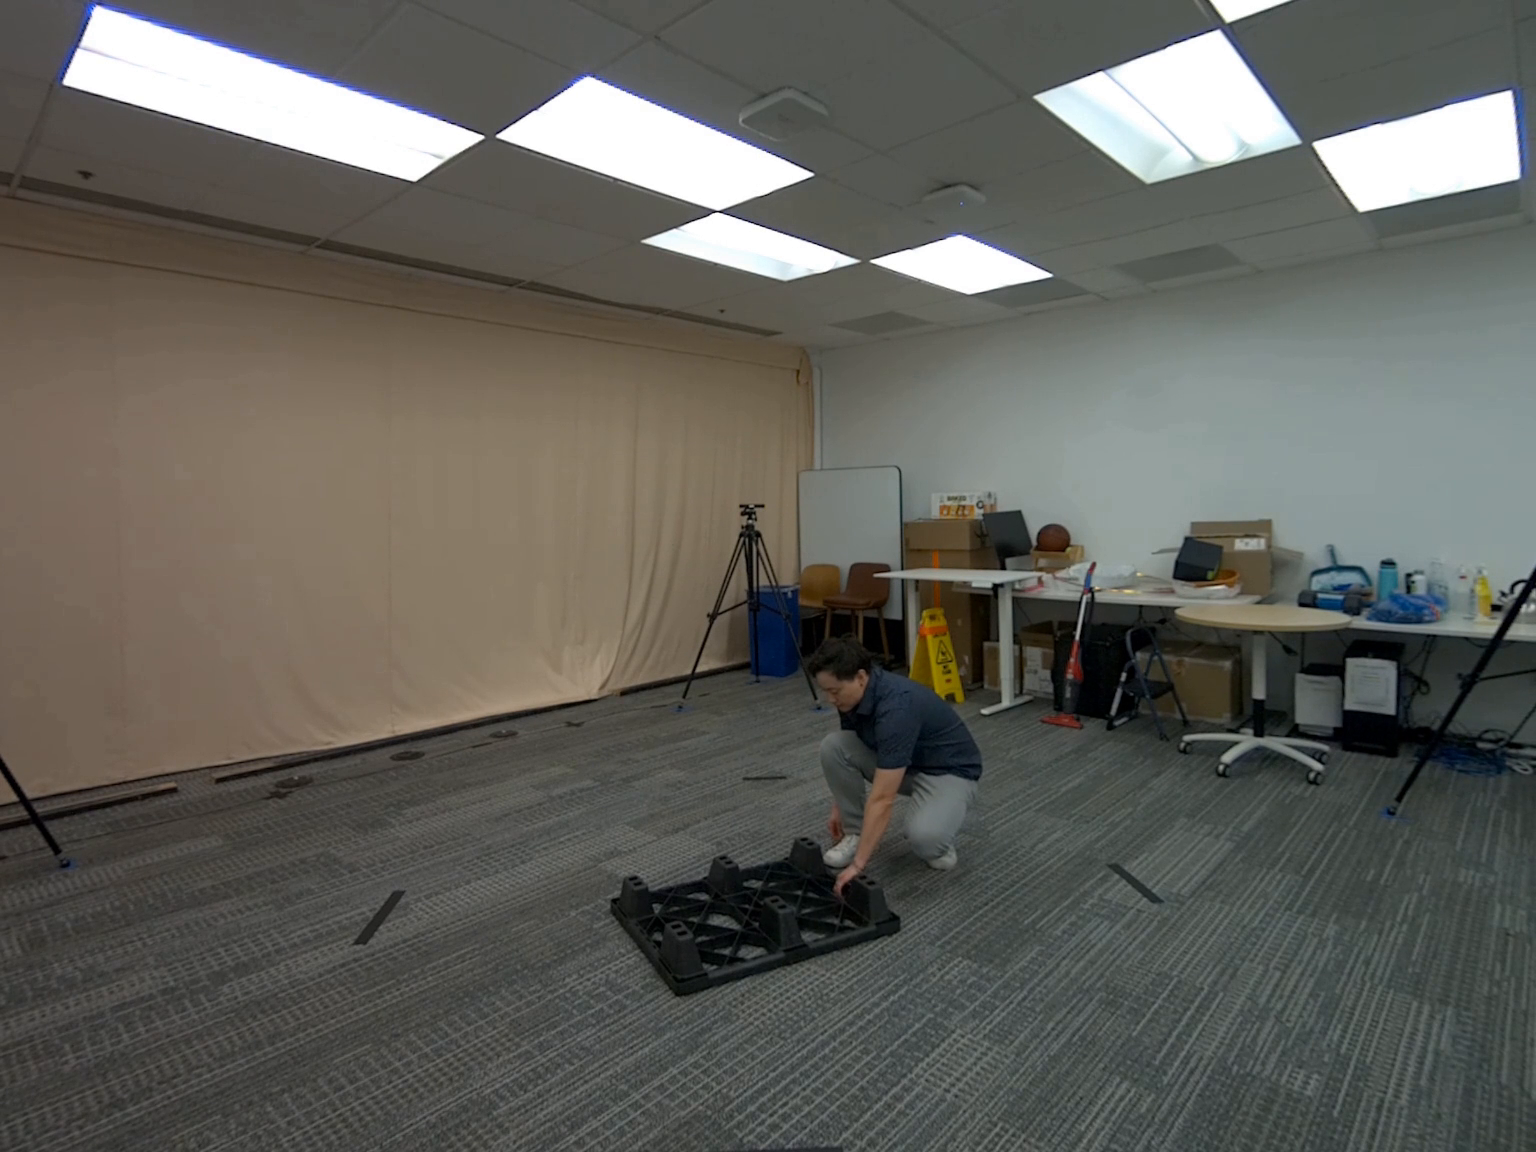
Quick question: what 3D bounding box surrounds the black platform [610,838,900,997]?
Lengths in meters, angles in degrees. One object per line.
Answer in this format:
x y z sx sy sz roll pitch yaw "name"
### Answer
-0.056 1.086 2.824 0.785 0.143 0.622 -3 5 -28 "black platform"
